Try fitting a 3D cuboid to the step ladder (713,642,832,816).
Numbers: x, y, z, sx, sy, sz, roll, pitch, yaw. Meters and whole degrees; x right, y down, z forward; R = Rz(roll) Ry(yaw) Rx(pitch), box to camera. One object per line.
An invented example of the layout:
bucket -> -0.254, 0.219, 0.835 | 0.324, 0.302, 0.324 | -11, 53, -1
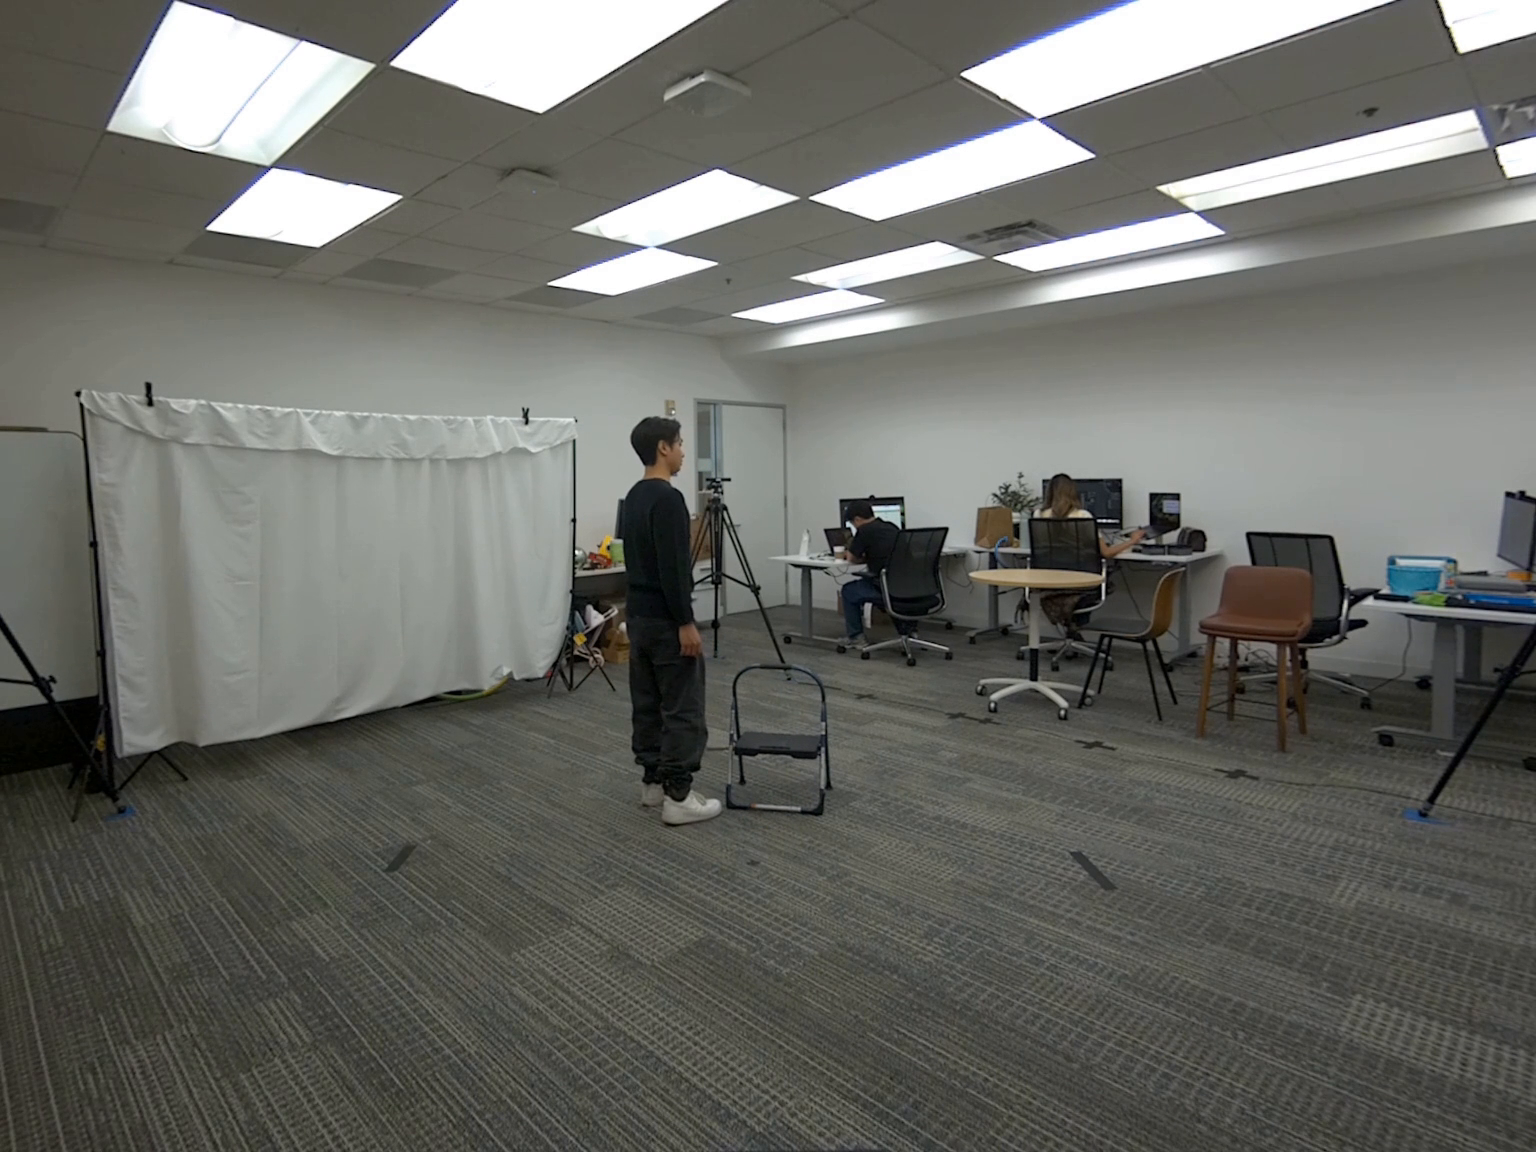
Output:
step ladder -> 0.047, 0.663, 3.712 | 0.435, 0.604, 0.347 | -1, 5, 10
